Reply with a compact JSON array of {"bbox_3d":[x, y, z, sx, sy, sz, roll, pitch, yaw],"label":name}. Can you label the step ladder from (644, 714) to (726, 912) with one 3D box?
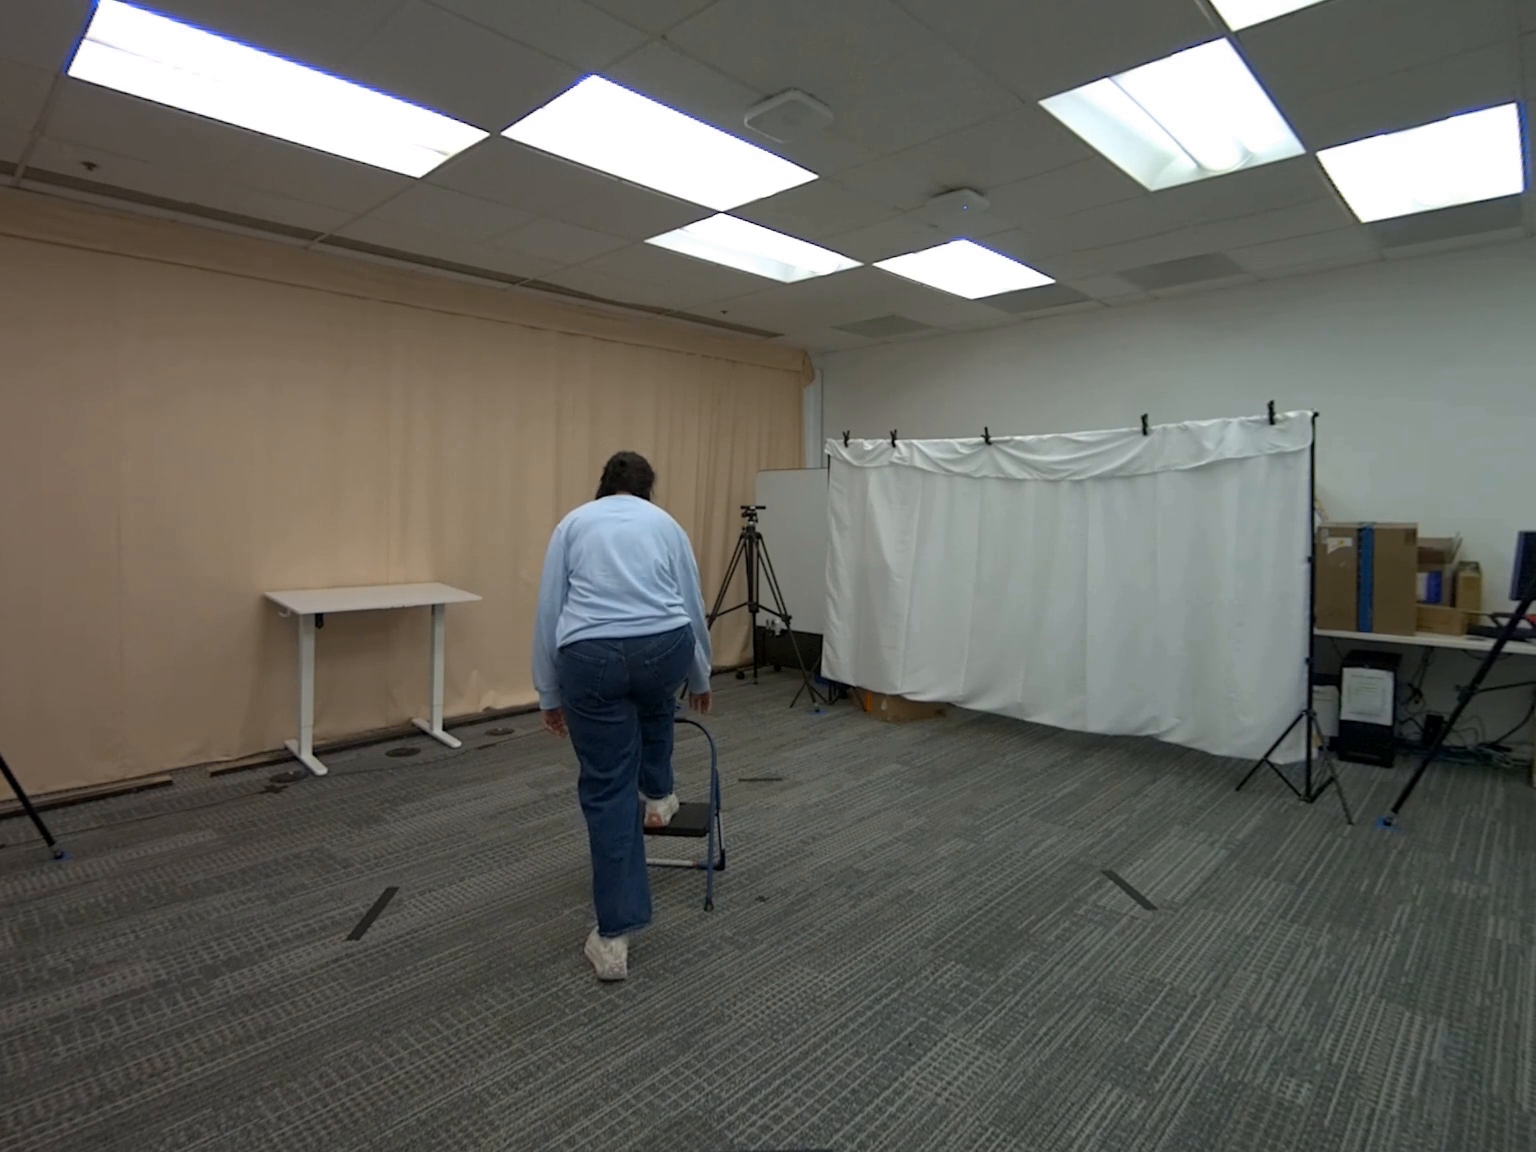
[{"bbox_3d":[-0.381,0.838,3.088,0.435,0.605,0.346,0,3,8],"label":"step ladder"}]
